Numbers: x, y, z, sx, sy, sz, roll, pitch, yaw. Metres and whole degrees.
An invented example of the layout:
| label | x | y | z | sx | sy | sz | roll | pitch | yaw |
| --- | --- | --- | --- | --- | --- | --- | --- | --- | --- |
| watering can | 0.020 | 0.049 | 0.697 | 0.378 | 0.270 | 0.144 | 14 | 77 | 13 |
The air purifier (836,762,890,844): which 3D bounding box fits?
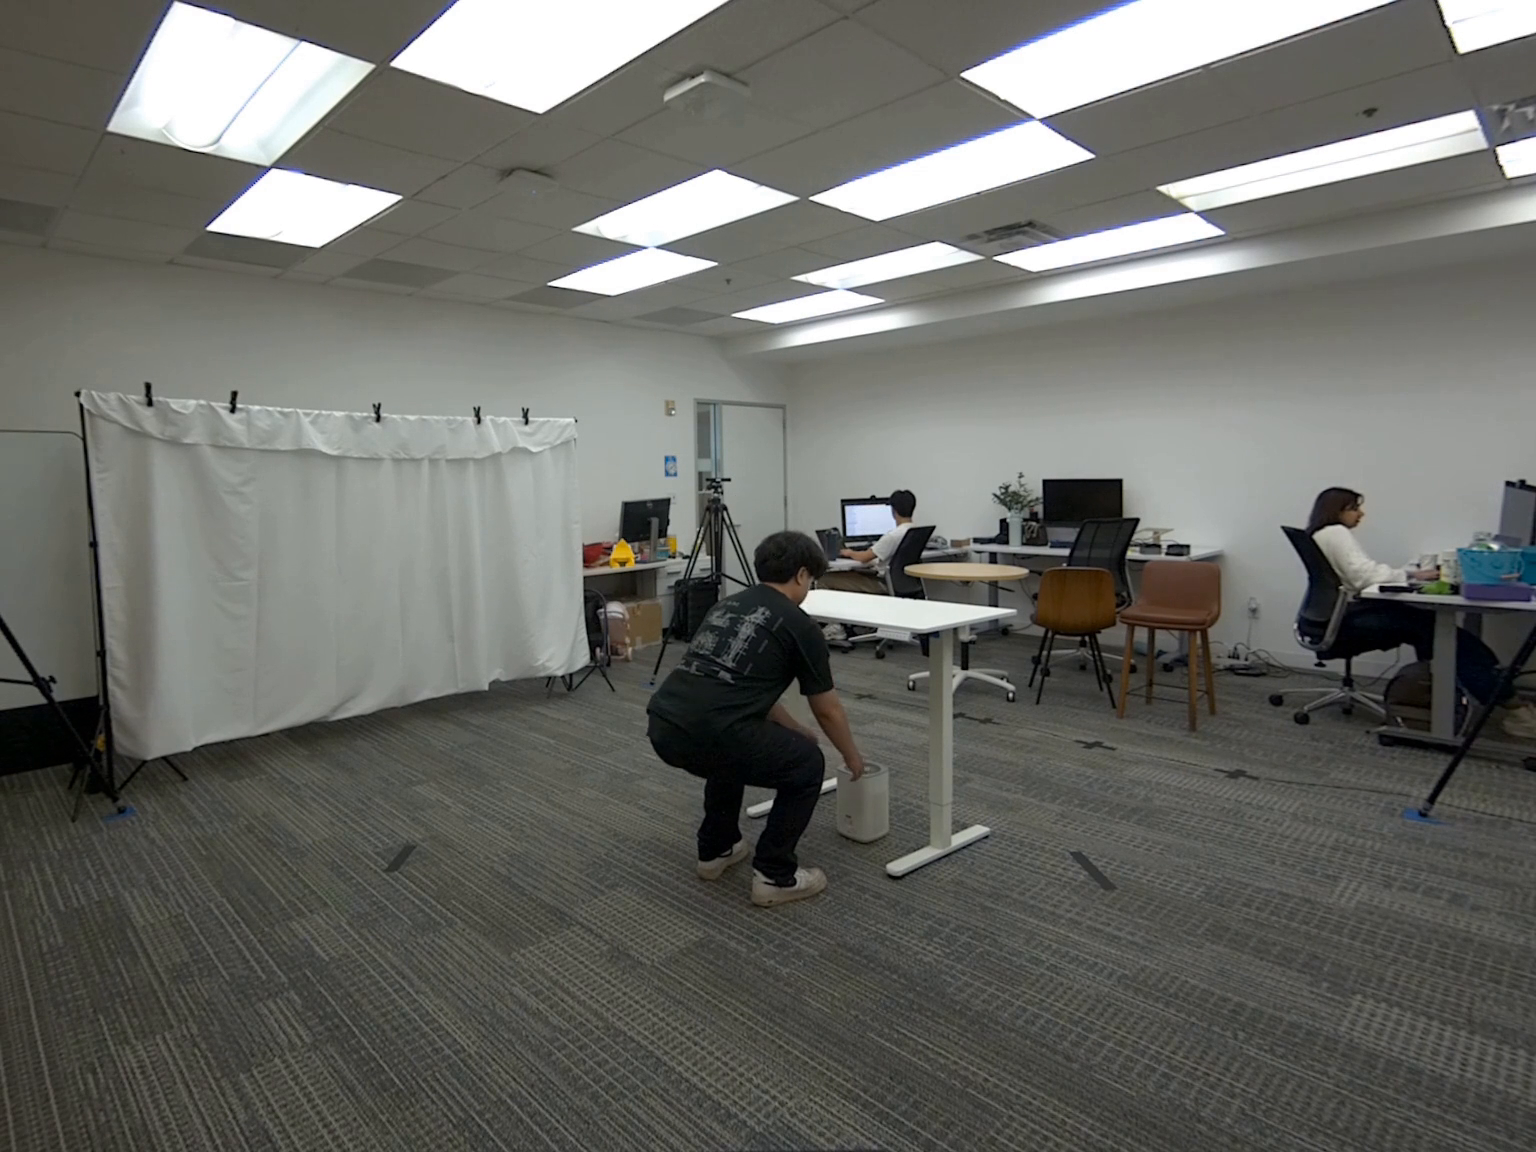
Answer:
| label | x | y | z | sx | sy | sz | roll | pitch | yaw |
| --- | --- | --- | --- | --- | --- | --- | --- | --- | --- |
| air purifier | 0.367 | 0.874 | 3.326 | 0.167 | 0.264 | 0.176 | -4 | 5 | -44 |
